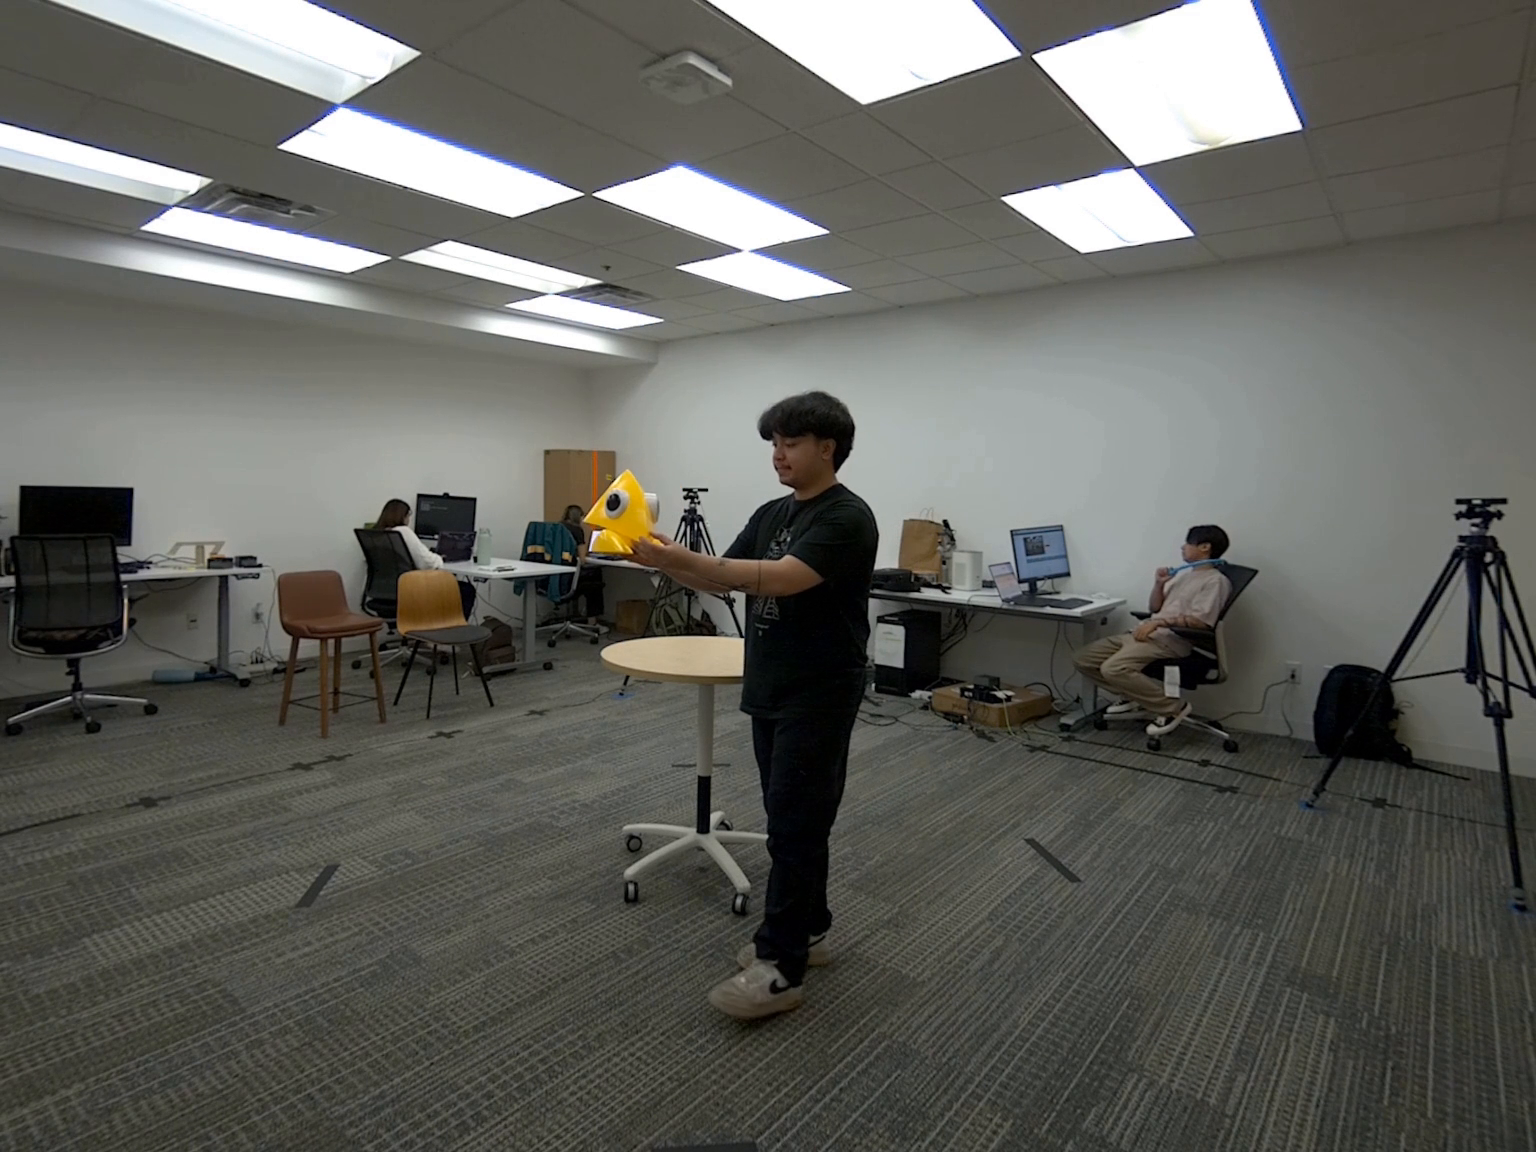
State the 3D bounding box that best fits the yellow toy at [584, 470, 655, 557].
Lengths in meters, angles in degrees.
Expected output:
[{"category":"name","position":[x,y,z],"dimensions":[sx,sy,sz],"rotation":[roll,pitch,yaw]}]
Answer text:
[{"category":"yellow toy","position":[-0.362,-0.168,2.235],"dimensions":[0.198,0.231,0.198],"rotation":[6,-3,-33]}]
